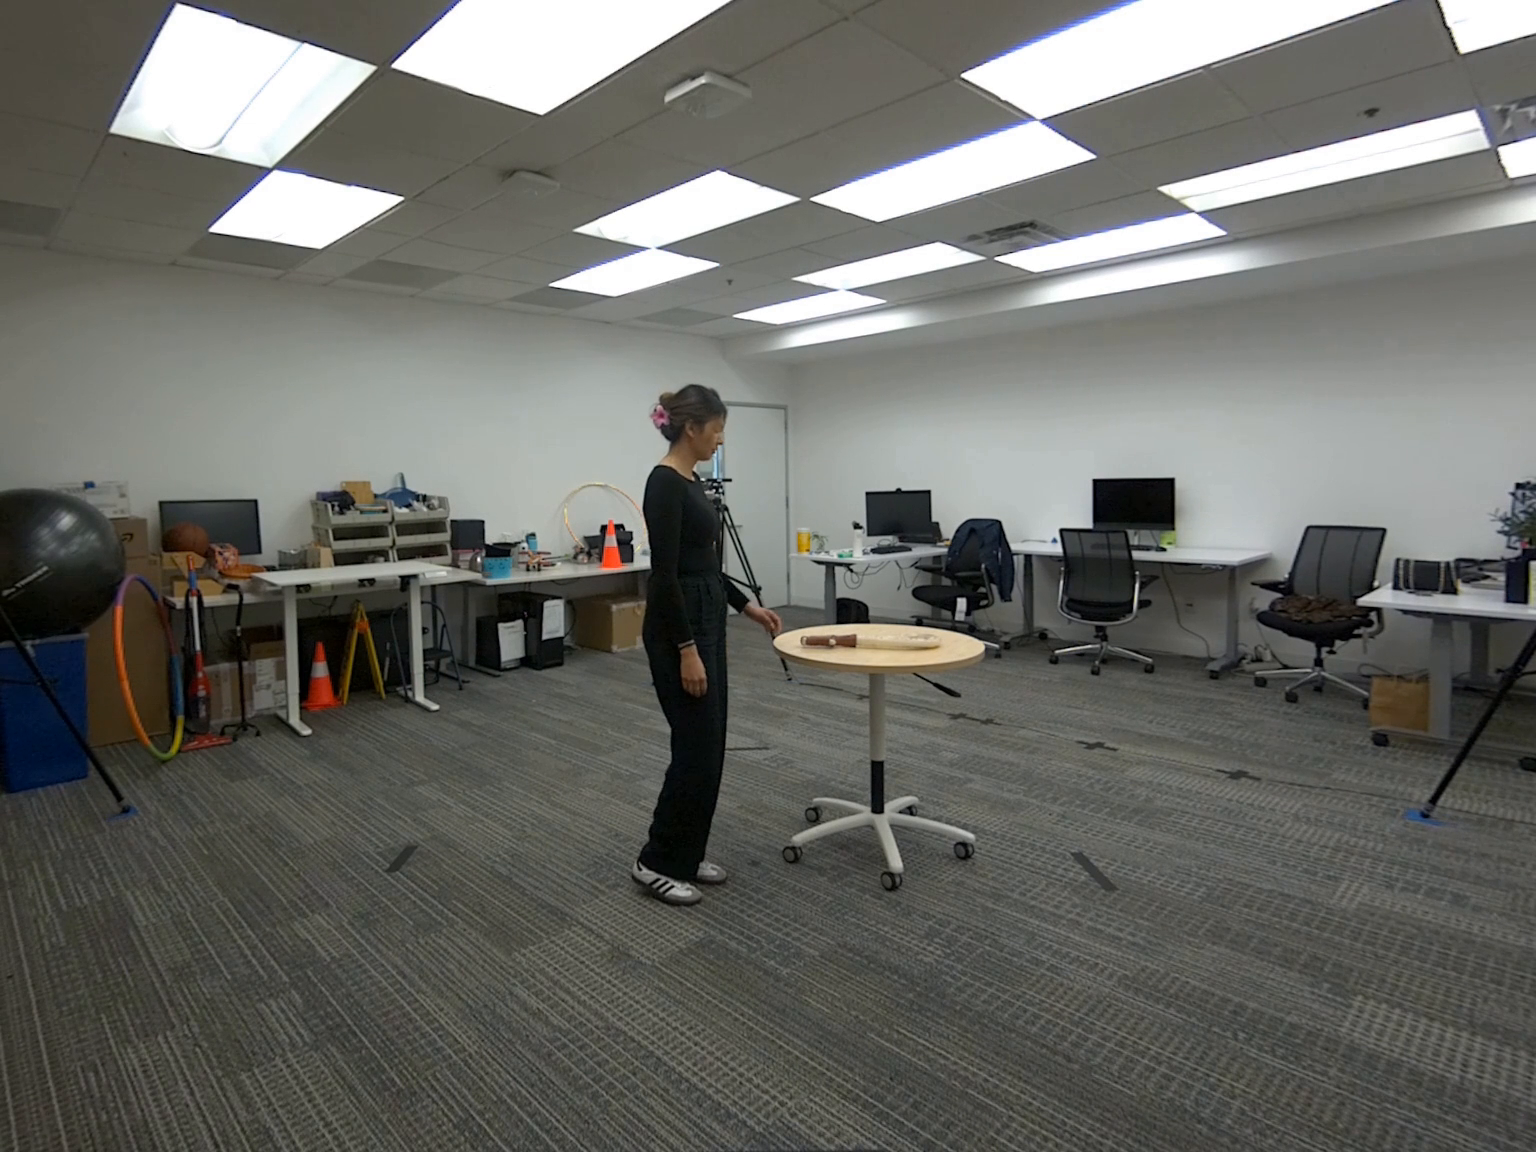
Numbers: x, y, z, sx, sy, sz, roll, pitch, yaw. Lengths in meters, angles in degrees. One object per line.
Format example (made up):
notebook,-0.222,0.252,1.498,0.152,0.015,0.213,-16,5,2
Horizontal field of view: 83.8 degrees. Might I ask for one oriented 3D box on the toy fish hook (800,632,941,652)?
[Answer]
toy fish hook,0.376,0.237,3.129,0.508,0.048,0.223,1,0,3
